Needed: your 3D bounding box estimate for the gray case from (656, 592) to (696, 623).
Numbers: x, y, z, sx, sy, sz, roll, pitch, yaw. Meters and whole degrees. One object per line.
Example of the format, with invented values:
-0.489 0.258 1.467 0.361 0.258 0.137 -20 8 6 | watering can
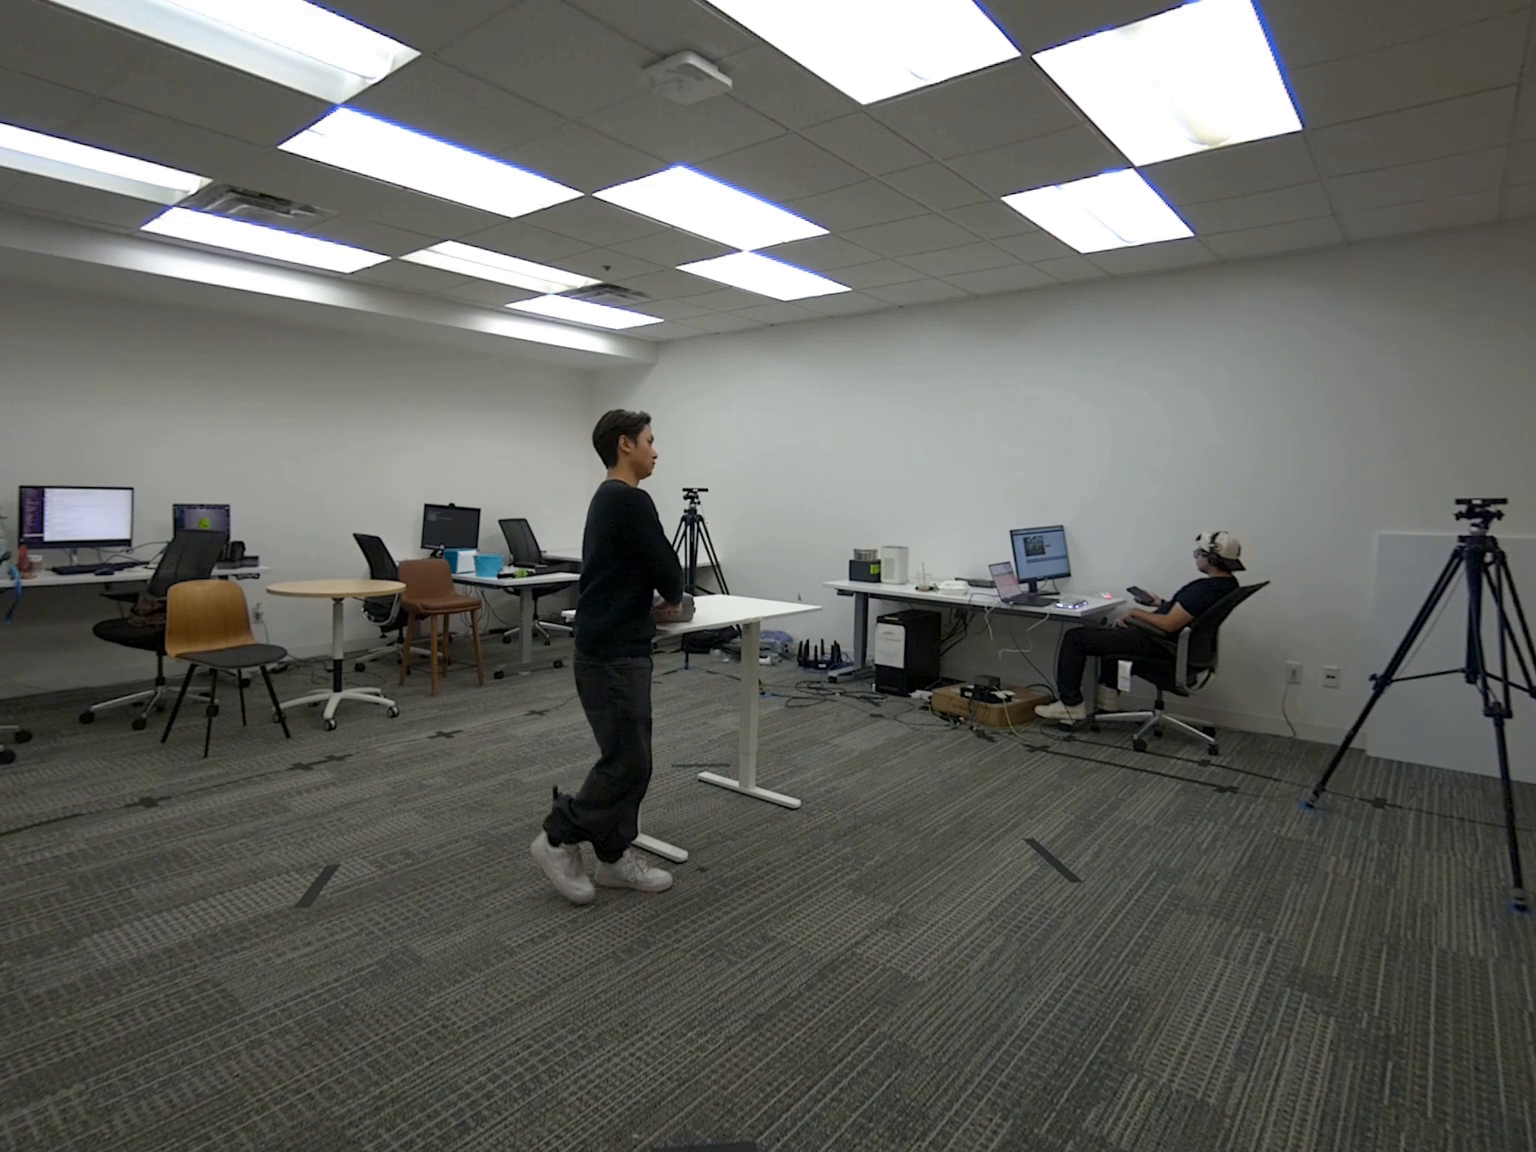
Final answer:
-0.441 0.111 3.290 0.252 0.104 0.266 1 4 -18 | gray case
